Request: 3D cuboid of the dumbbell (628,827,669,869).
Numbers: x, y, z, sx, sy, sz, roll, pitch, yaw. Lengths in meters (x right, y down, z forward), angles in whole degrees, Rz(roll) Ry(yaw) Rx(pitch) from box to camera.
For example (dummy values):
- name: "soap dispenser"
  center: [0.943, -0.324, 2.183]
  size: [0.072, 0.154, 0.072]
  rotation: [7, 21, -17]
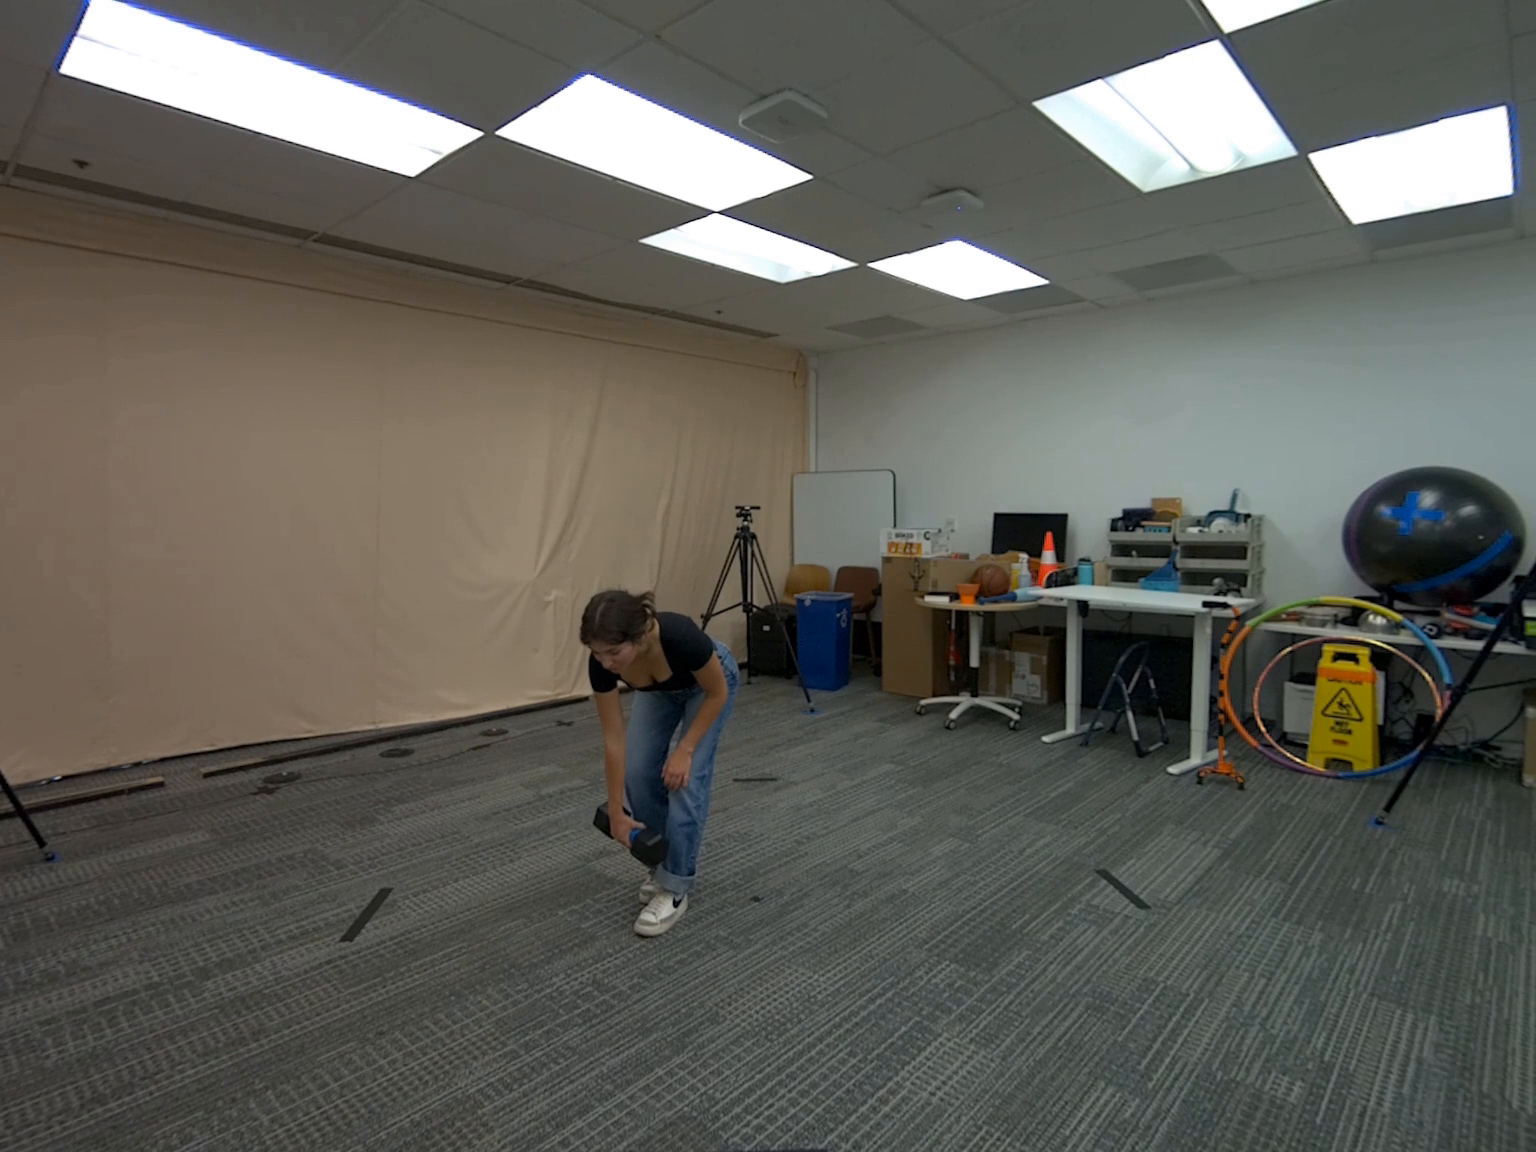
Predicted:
- name: "dumbbell"
  center: [-0.450, 0.851, 2.807]
  size: [0.304, 0.108, 0.119]
  rotation: [16, -28, 44]
